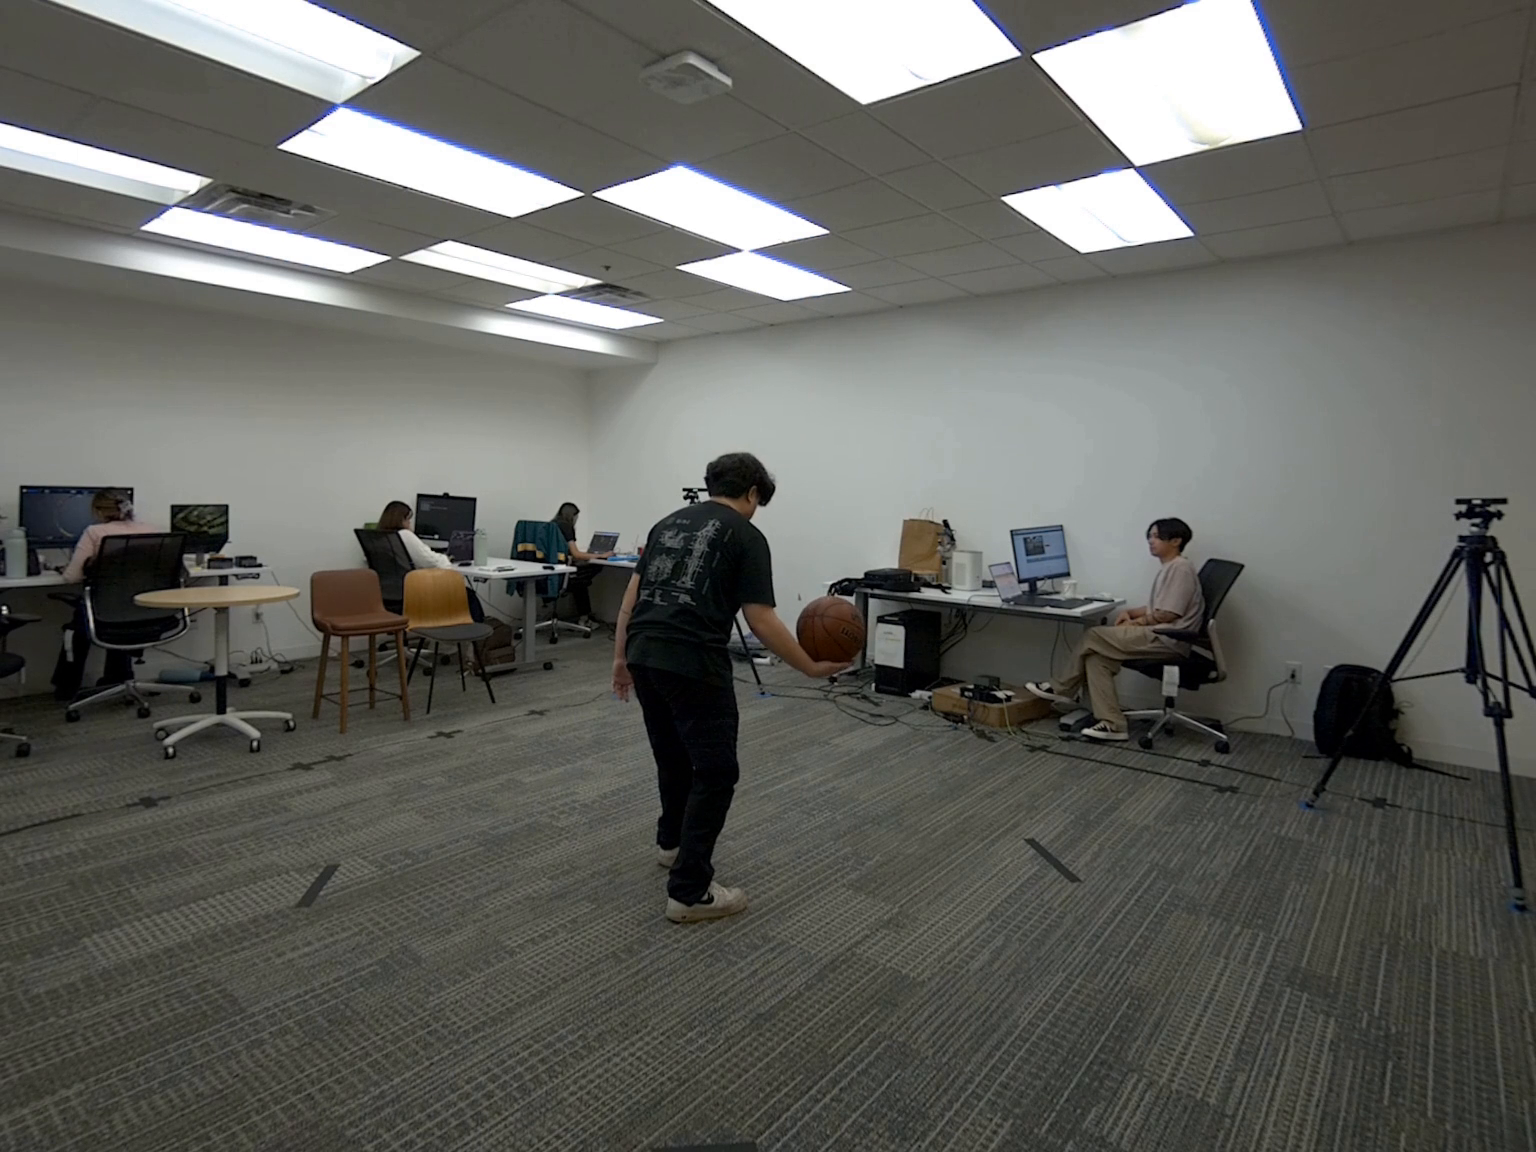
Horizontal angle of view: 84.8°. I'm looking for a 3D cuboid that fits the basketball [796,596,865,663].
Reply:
[{"bbox_3d":[0.203,0.190,2.927,0.235,0.235,0.237,1,4,-2],"label":"basketball"}]
